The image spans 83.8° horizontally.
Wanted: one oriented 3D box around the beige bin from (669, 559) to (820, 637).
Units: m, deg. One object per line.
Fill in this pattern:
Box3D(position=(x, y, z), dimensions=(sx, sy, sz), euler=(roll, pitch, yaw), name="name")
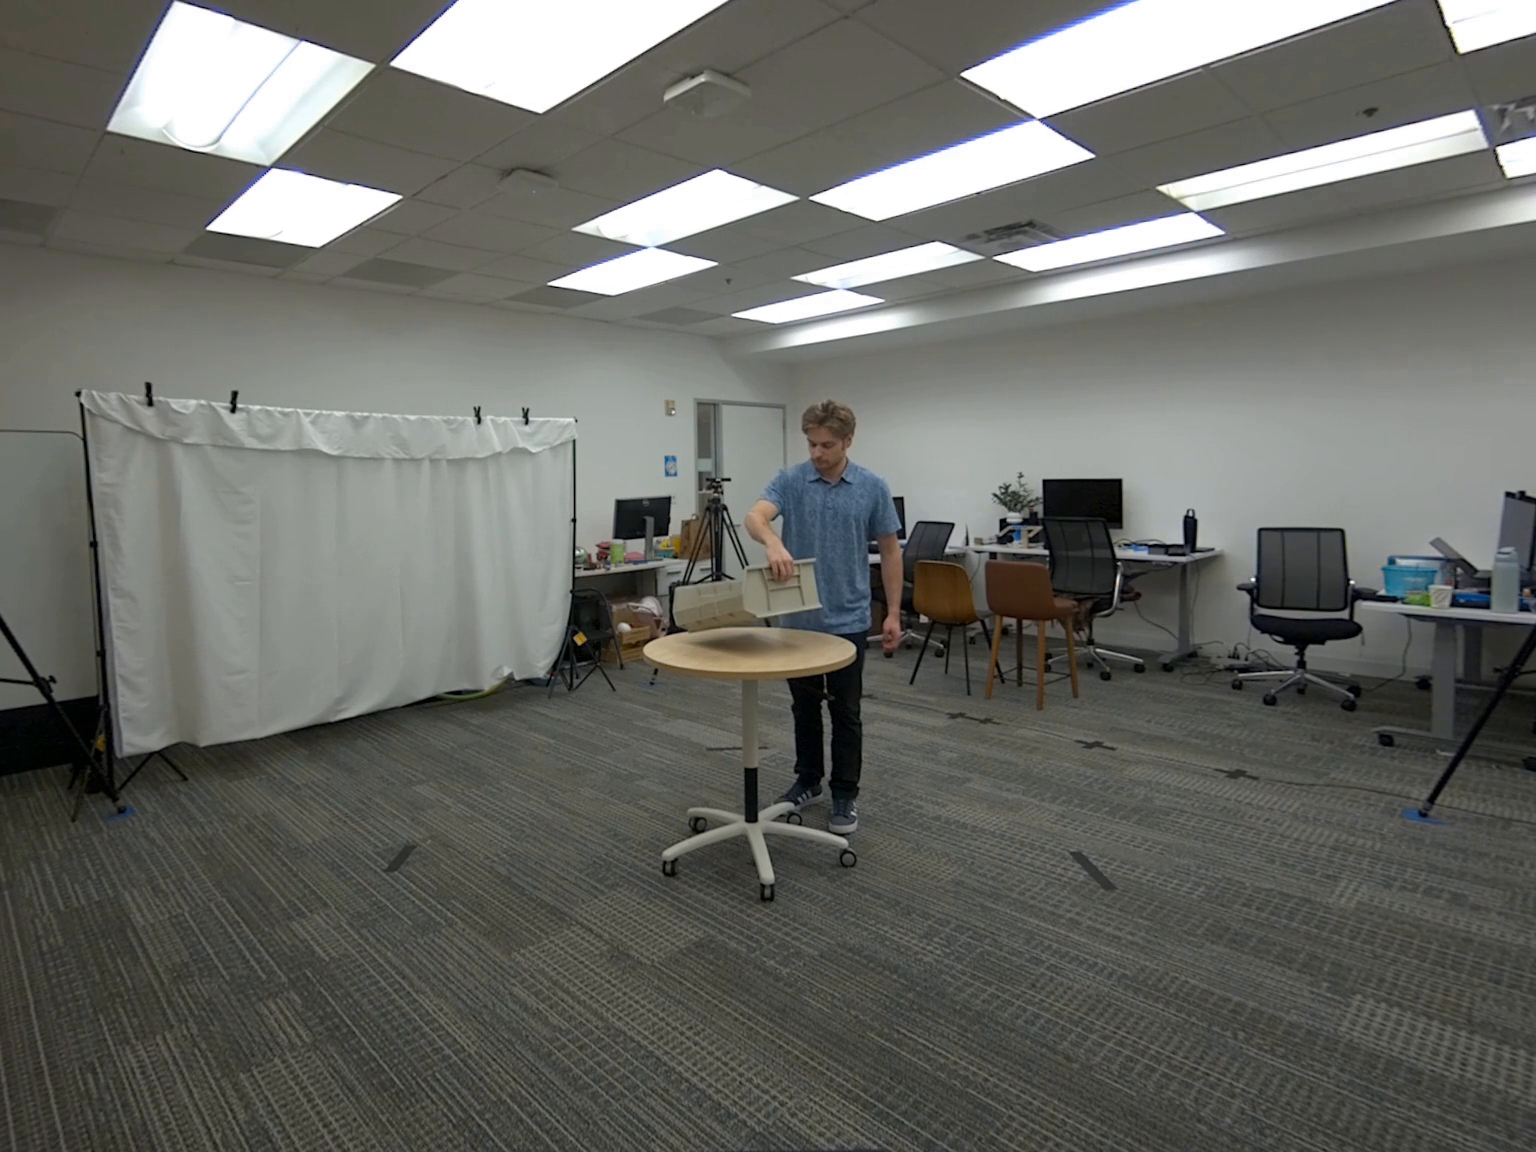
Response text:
Box3D(position=(-0.075, 0.077, 3.131), dimensions=(0.367, 0.190, 0.430), euler=(-5, -8, -40), name="beige bin")
